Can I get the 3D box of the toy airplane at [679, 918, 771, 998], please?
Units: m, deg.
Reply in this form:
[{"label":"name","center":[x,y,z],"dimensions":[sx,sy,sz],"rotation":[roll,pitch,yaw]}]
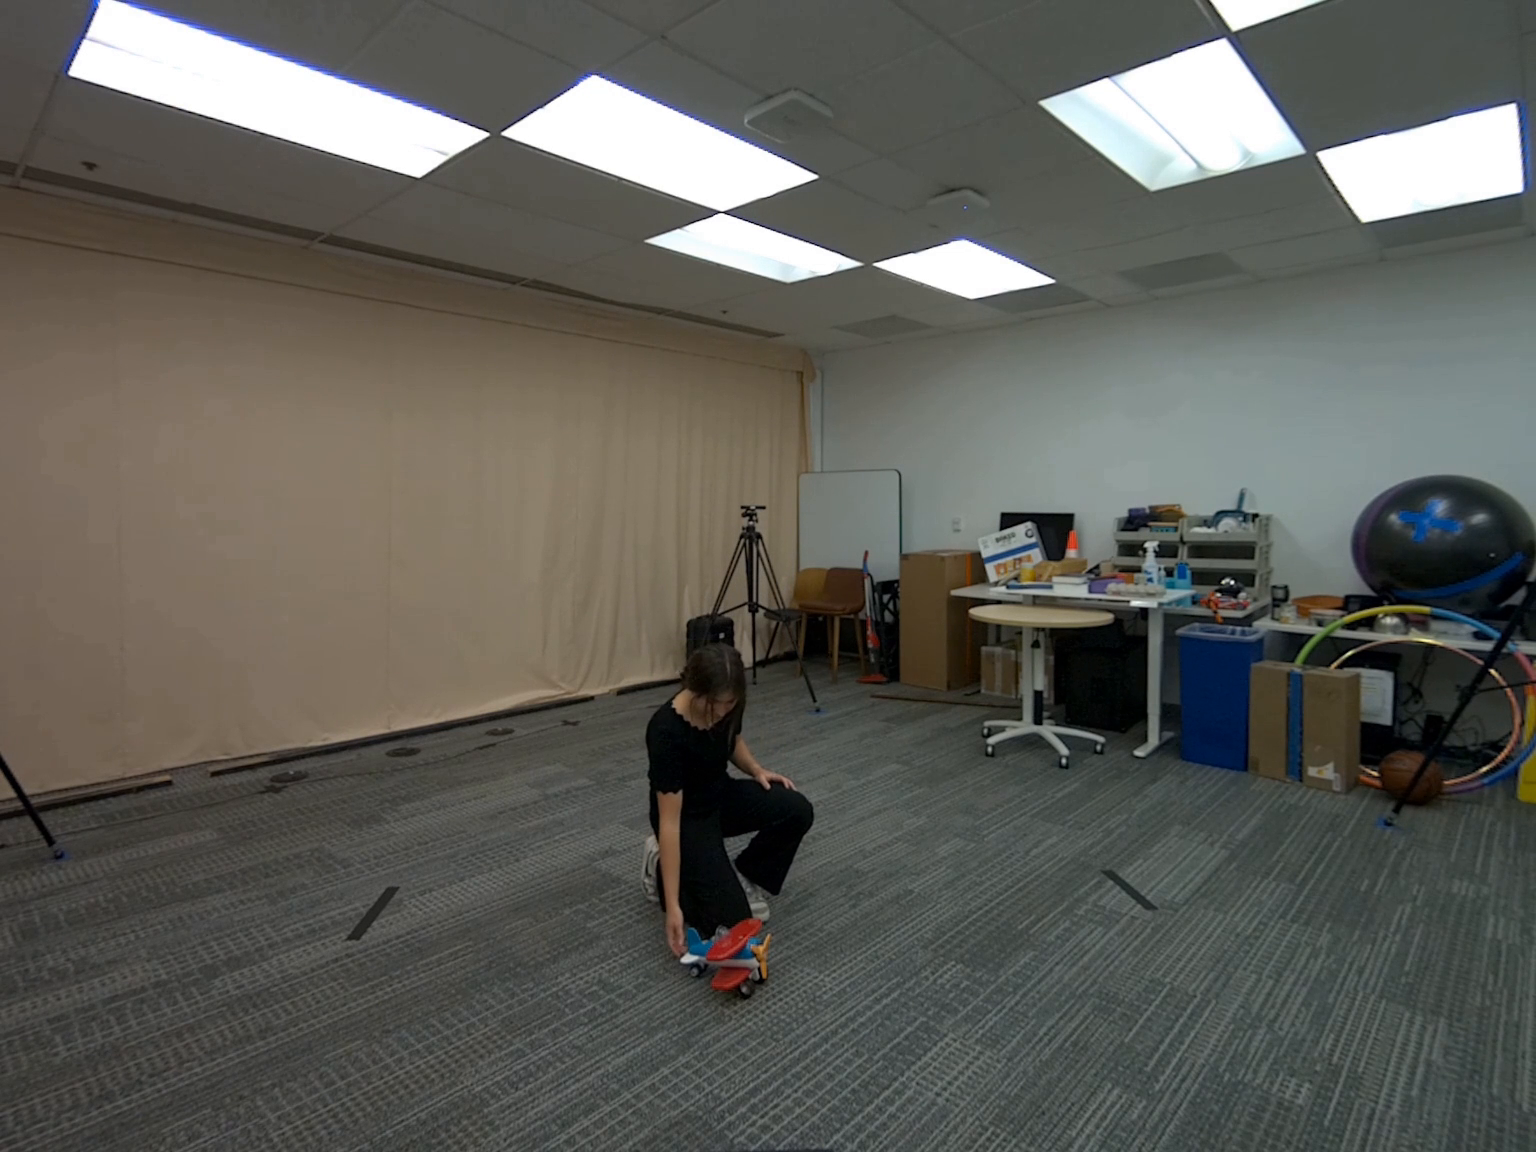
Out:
[{"label":"toy airplane","center":[-0.132,1.112,2.441],"dimensions":[0.259,0.156,0.251],"rotation":[1,4,0]}]
